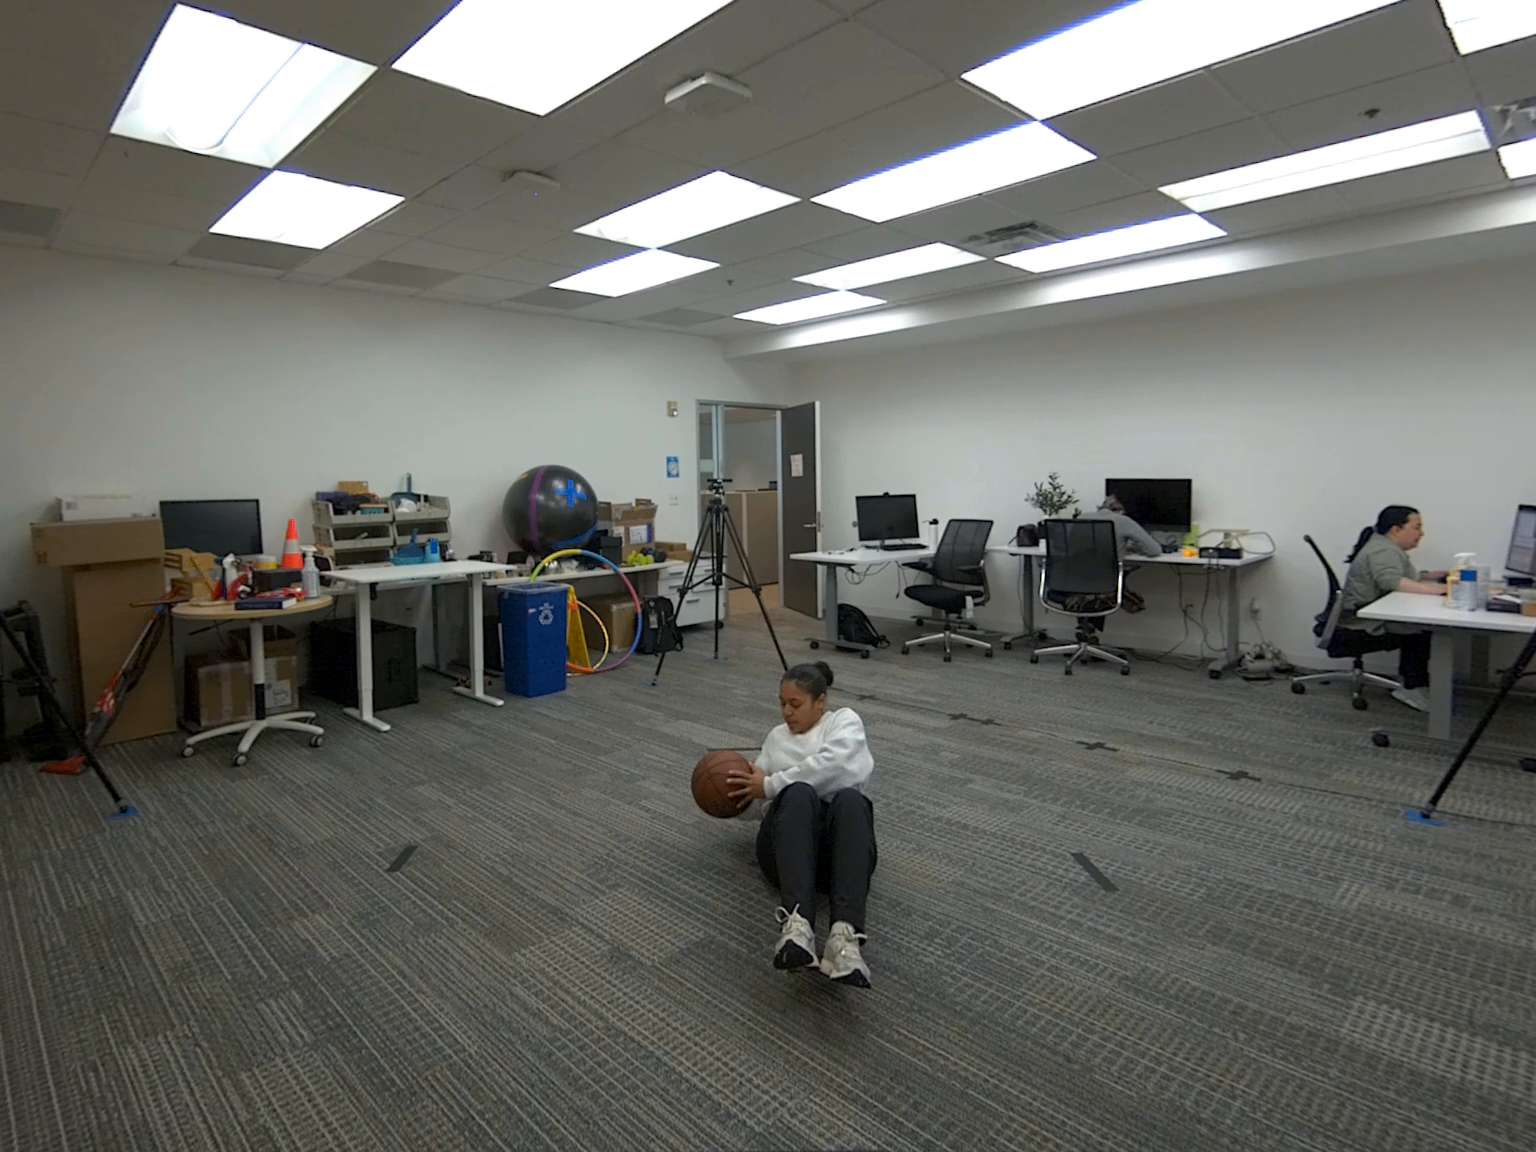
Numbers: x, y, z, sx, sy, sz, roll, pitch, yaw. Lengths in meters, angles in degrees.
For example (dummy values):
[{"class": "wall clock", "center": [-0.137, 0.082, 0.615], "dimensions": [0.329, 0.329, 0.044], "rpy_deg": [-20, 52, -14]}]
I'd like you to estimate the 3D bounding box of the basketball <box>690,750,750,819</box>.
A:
[{"class": "basketball", "center": [-0.143, 0.747, 3.075], "dimensions": [0.236, 0.235, 0.237], "rpy_deg": [-1, 5, -2]}]
